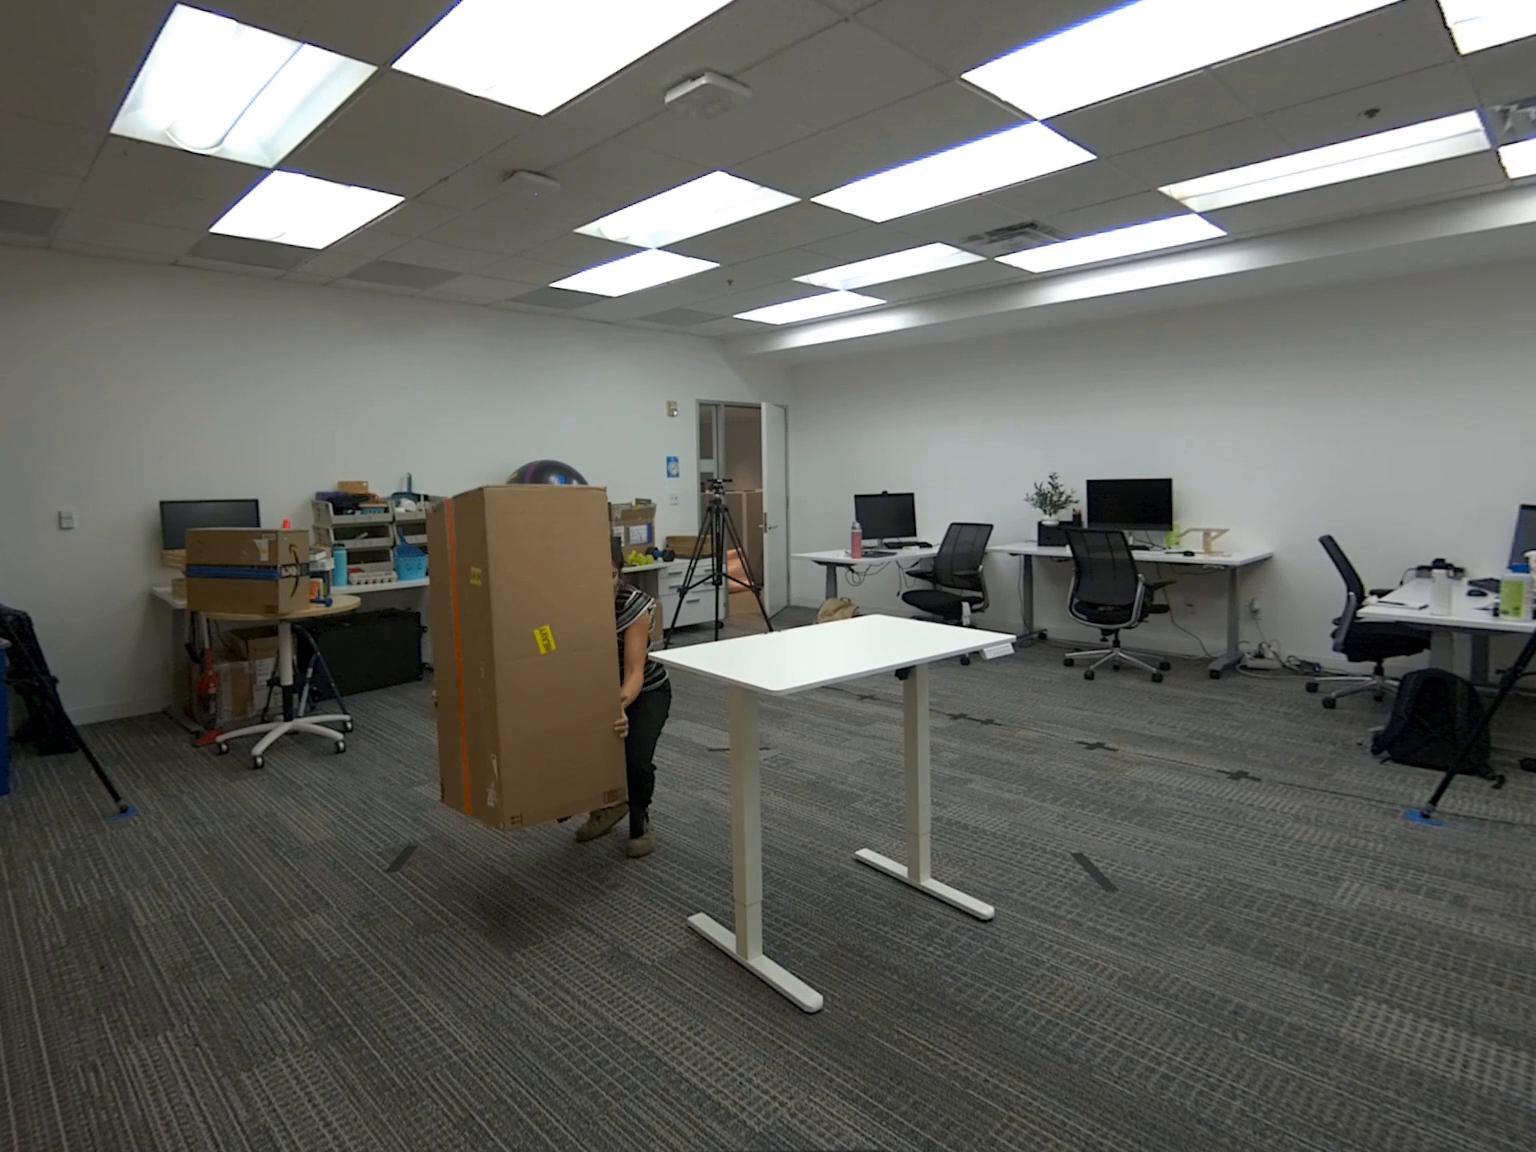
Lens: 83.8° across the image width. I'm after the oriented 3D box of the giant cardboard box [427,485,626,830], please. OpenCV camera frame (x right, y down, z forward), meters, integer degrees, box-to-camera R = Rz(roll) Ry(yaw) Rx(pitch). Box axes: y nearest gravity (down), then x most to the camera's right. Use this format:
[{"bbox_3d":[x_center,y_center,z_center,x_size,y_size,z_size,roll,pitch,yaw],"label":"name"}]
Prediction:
[{"bbox_3d":[-0.833,0.240,2.869,0.414,1.030,0.591,-1,-4,-39],"label":"giant cardboard box"}]
